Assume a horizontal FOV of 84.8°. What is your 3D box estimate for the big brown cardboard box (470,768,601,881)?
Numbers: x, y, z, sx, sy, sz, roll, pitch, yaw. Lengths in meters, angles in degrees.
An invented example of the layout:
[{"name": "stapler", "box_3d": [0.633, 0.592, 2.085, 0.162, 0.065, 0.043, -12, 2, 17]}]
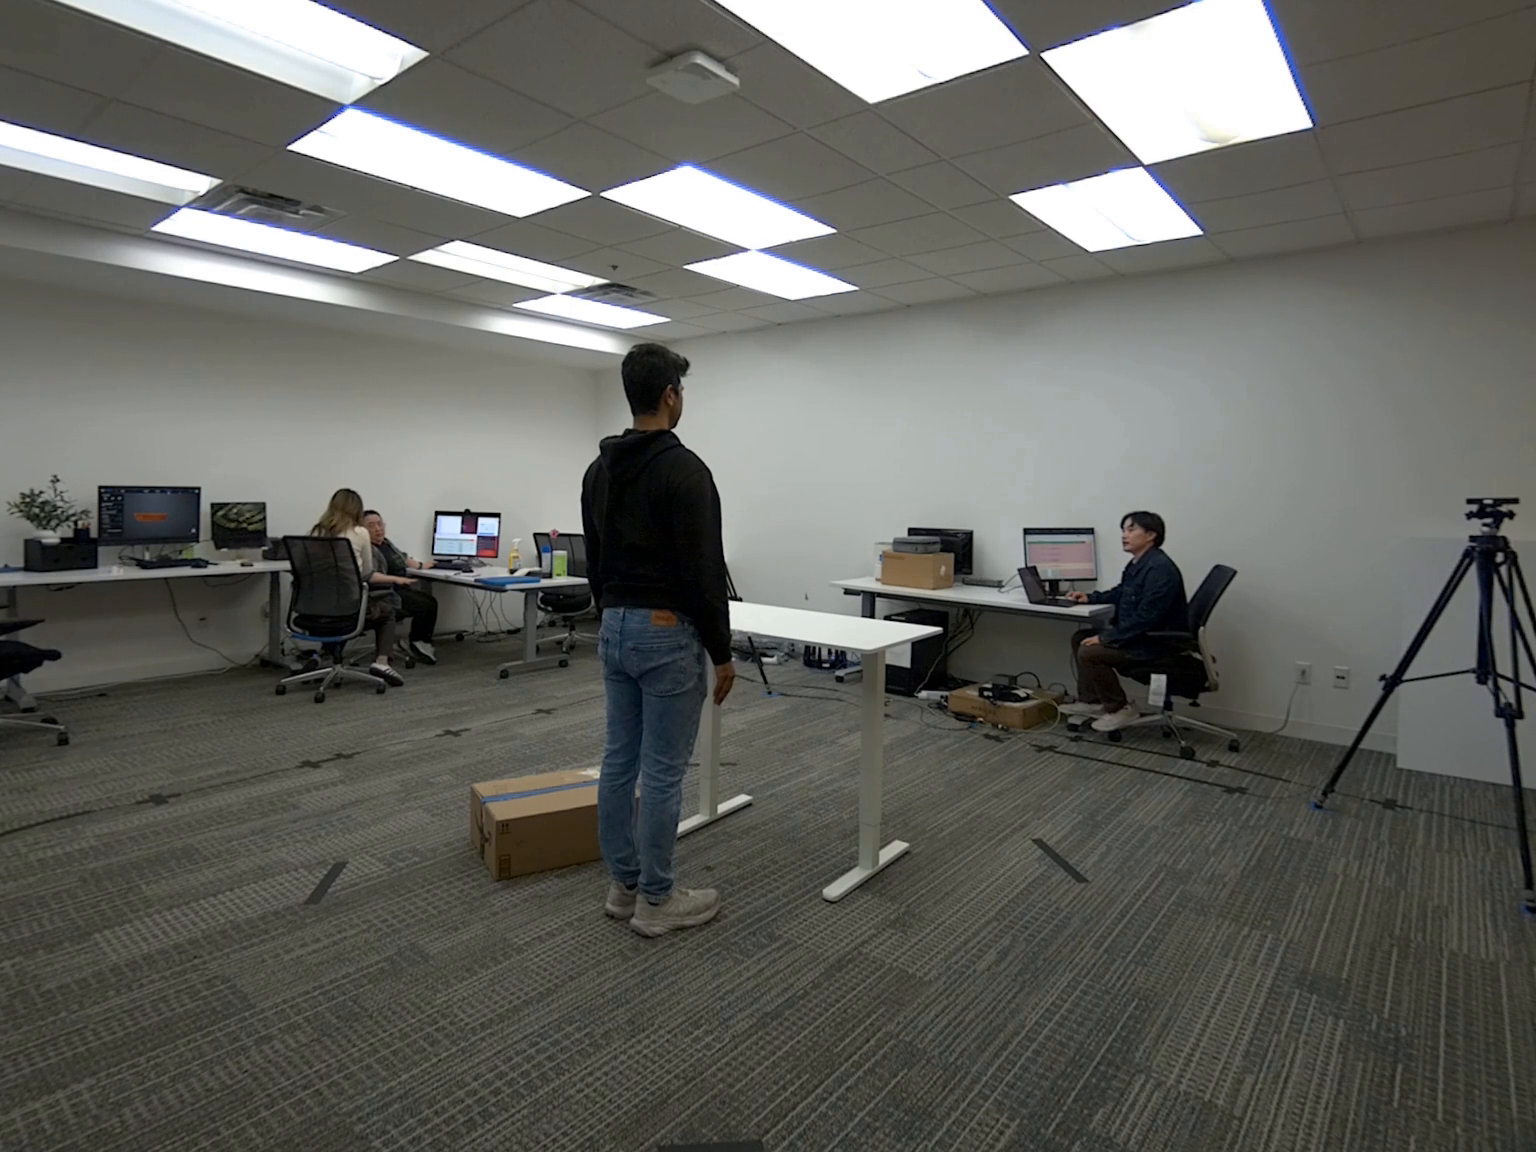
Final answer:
[{"name": "big brown cardboard box", "box_3d": [-0.831, 0.928, 3.283, 0.573, 0.232, 0.430, -3, 6, -31]}]
